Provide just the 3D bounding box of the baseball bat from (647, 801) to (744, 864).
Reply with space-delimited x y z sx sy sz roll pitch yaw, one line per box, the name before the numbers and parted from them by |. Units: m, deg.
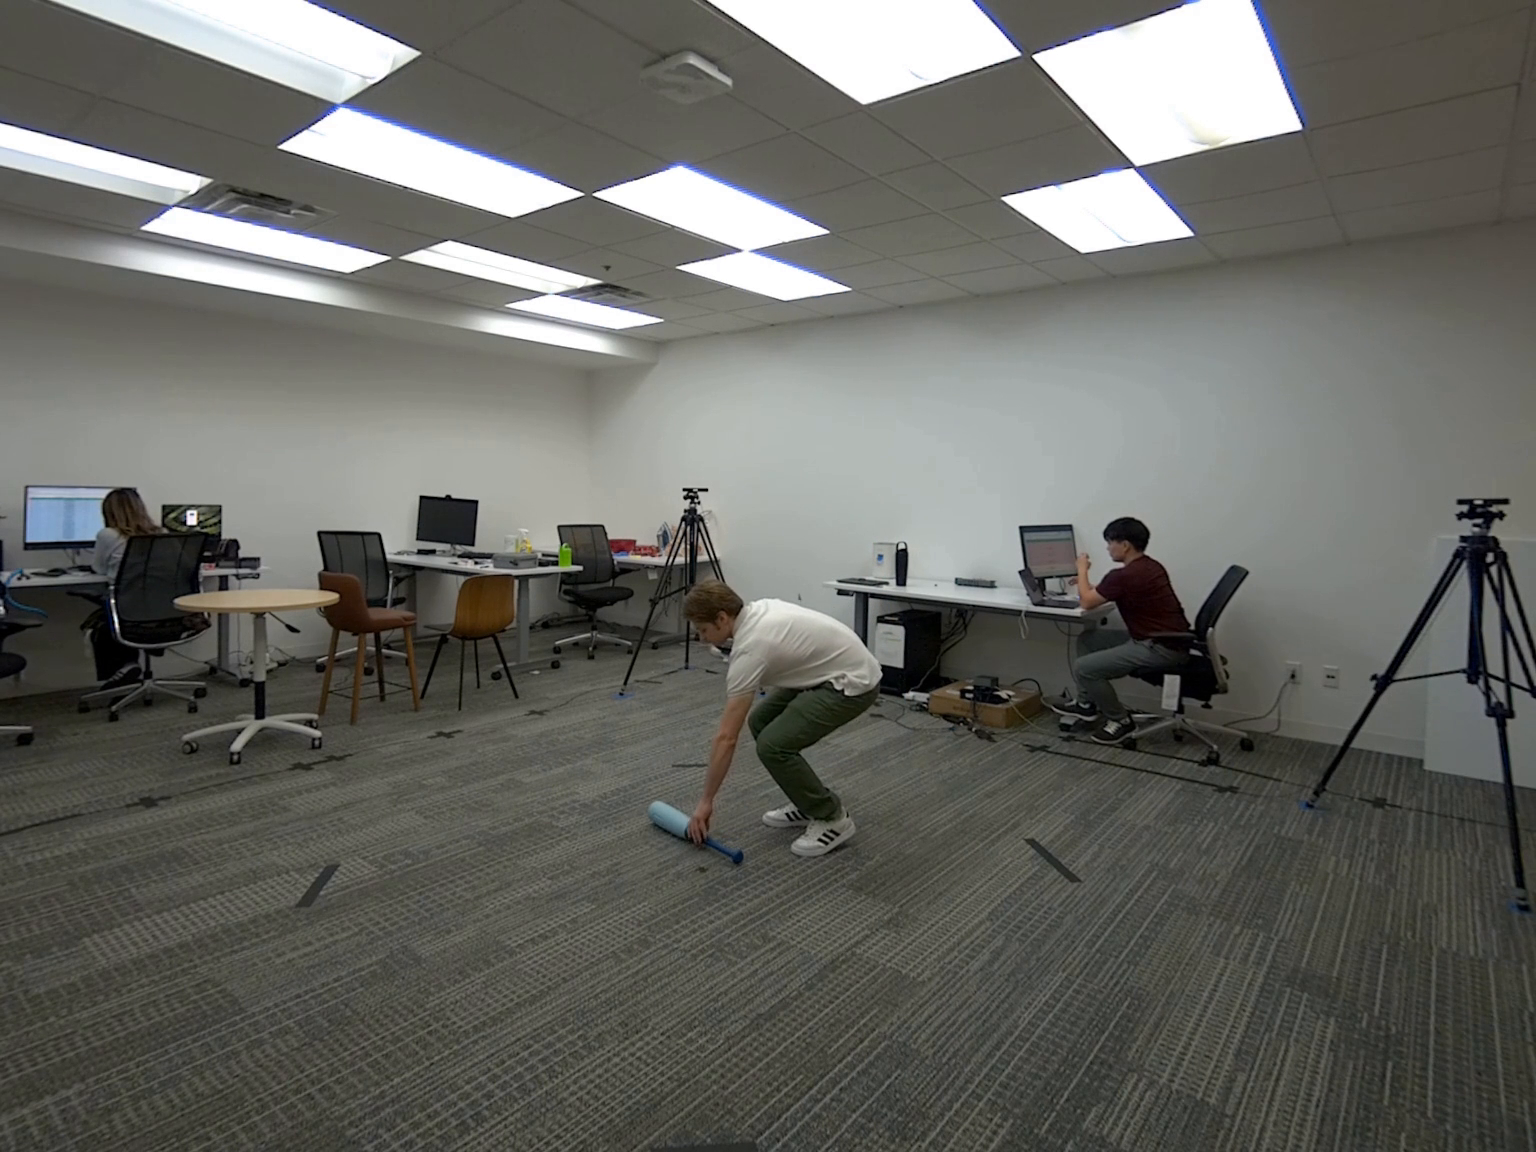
baseball bat | -0.297 1.011 3.341 0.086 0.088 0.563 -3 9 -41
